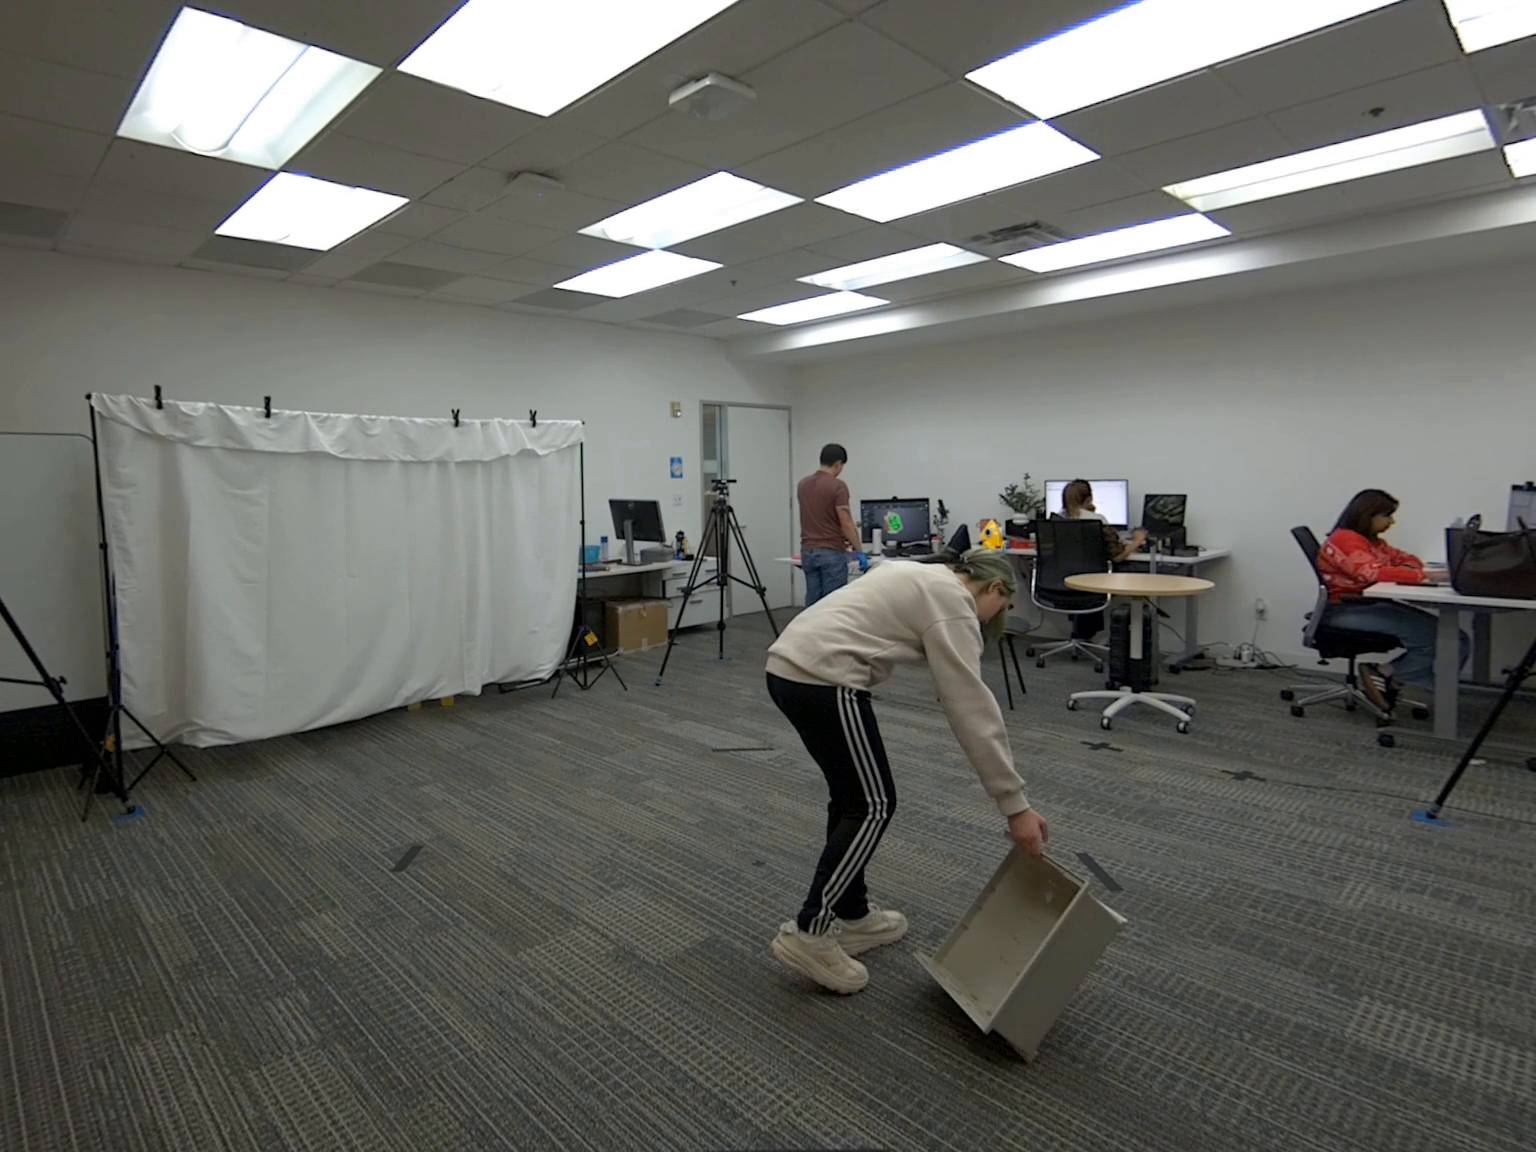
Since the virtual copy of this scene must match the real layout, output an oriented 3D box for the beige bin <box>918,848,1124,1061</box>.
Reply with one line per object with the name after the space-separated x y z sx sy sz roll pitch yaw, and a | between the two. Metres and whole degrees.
0.636 0.931 2.191 0.185 0.422 0.385 43 -9 -18 | beige bin
